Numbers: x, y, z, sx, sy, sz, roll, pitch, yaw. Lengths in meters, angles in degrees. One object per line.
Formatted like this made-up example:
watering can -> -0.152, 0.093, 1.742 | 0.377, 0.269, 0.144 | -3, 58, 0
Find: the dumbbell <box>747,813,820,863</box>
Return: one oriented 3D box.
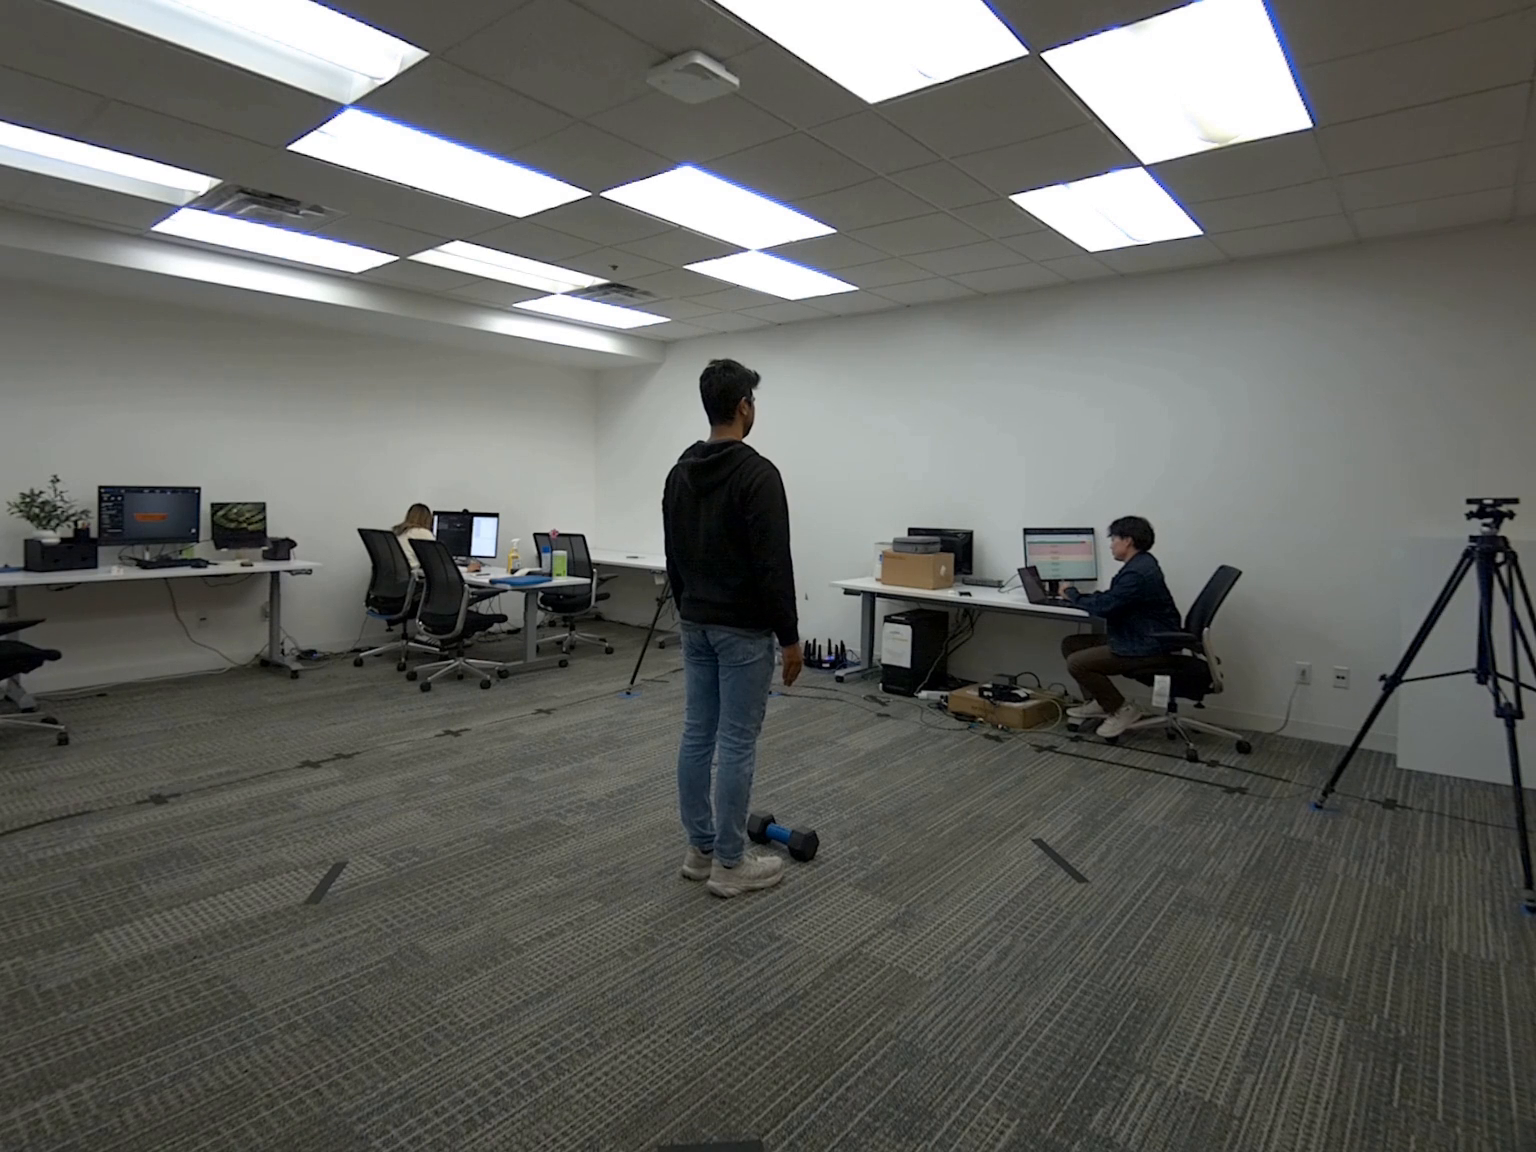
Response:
dumbbell -> 0.046, 1.000, 3.294 | 0.304, 0.124, 0.104 | 6, -24, 42
